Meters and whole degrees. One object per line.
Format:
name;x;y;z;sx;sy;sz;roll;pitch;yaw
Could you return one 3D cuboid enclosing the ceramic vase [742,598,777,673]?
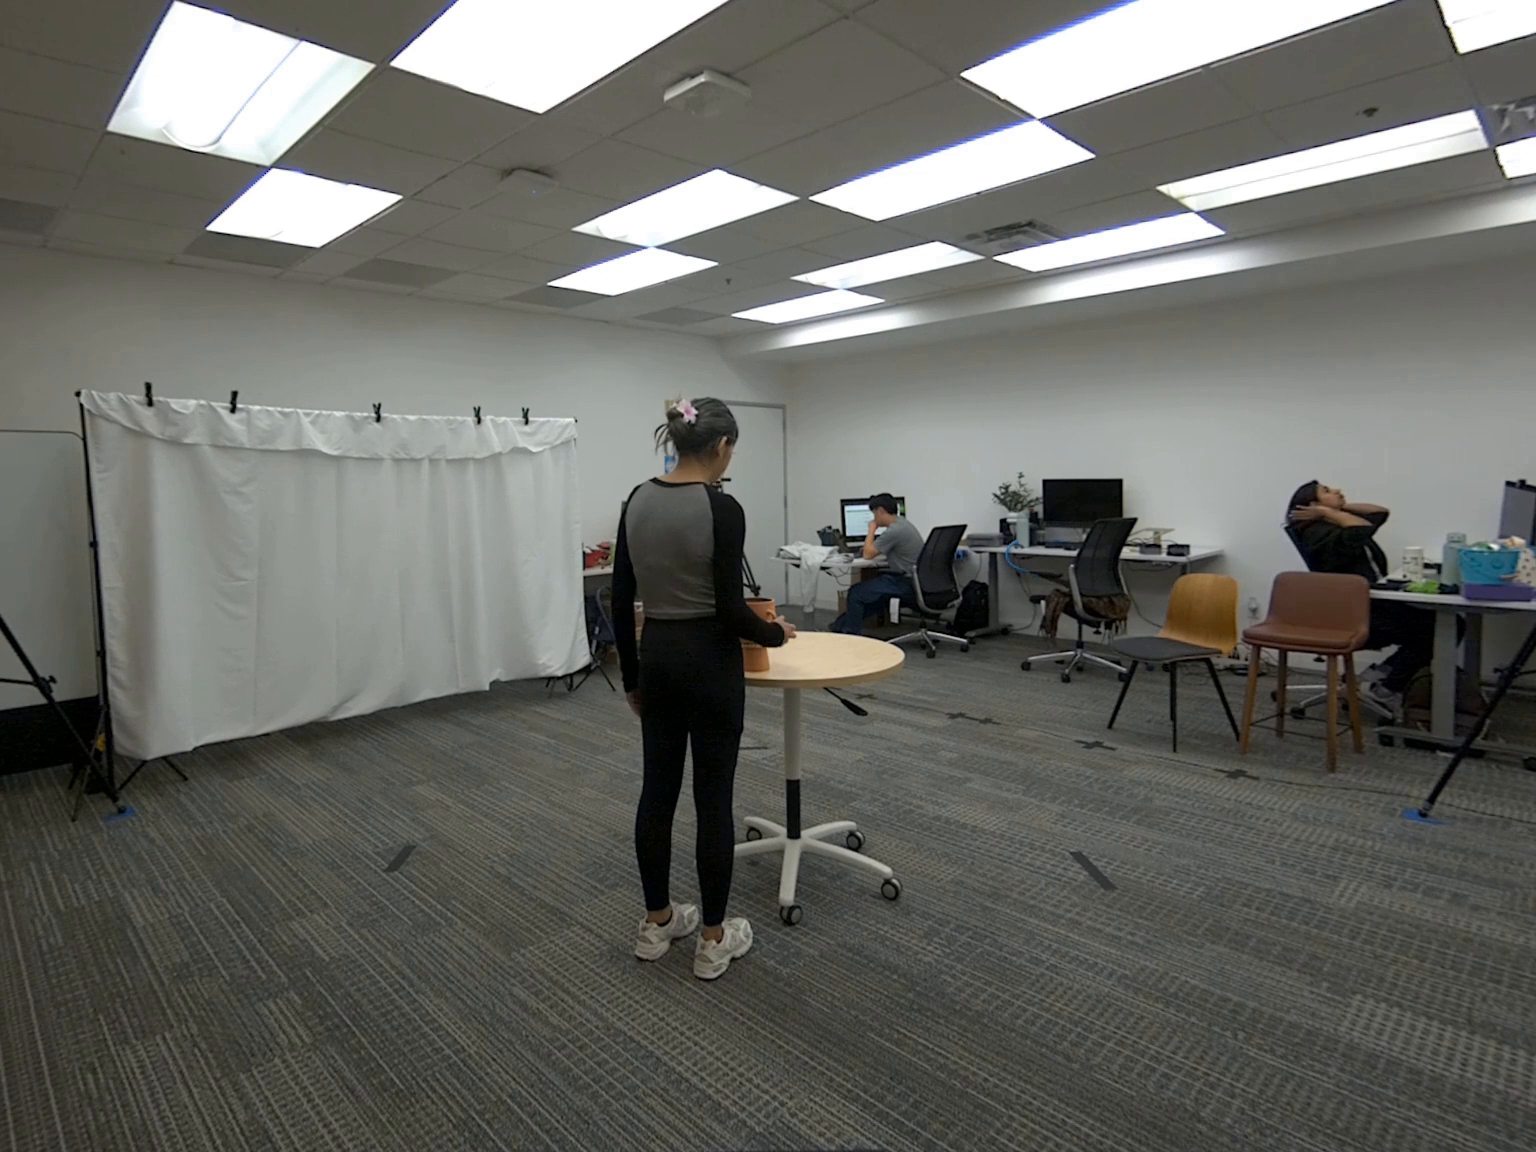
ceramic vase;-0.036;0.188;2.709;0.134;0.219;0.160;-1;5;-3
